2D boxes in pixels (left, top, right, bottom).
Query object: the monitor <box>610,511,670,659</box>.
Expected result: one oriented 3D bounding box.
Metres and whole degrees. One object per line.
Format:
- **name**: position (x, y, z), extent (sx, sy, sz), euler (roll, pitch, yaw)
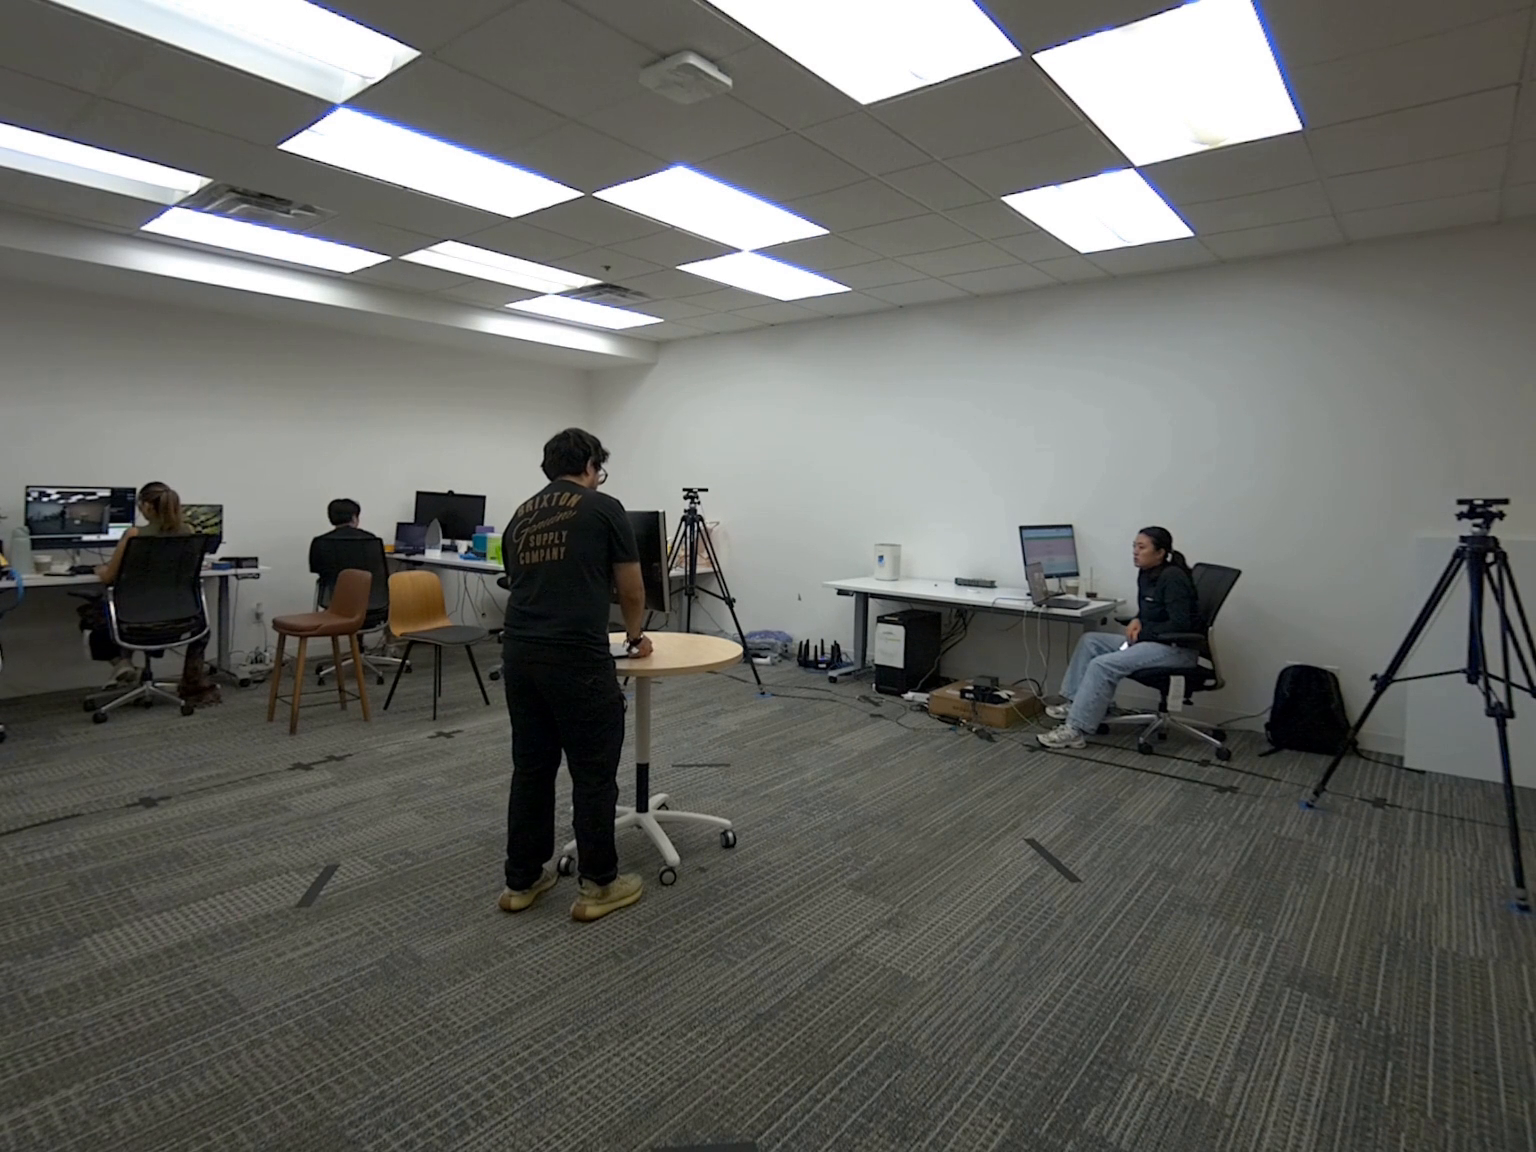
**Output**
- **monitor**: position (-0.609, 0.022, 3.154), extent (0.204, 0.552, 0.584), euler (-3, 5, -41)
